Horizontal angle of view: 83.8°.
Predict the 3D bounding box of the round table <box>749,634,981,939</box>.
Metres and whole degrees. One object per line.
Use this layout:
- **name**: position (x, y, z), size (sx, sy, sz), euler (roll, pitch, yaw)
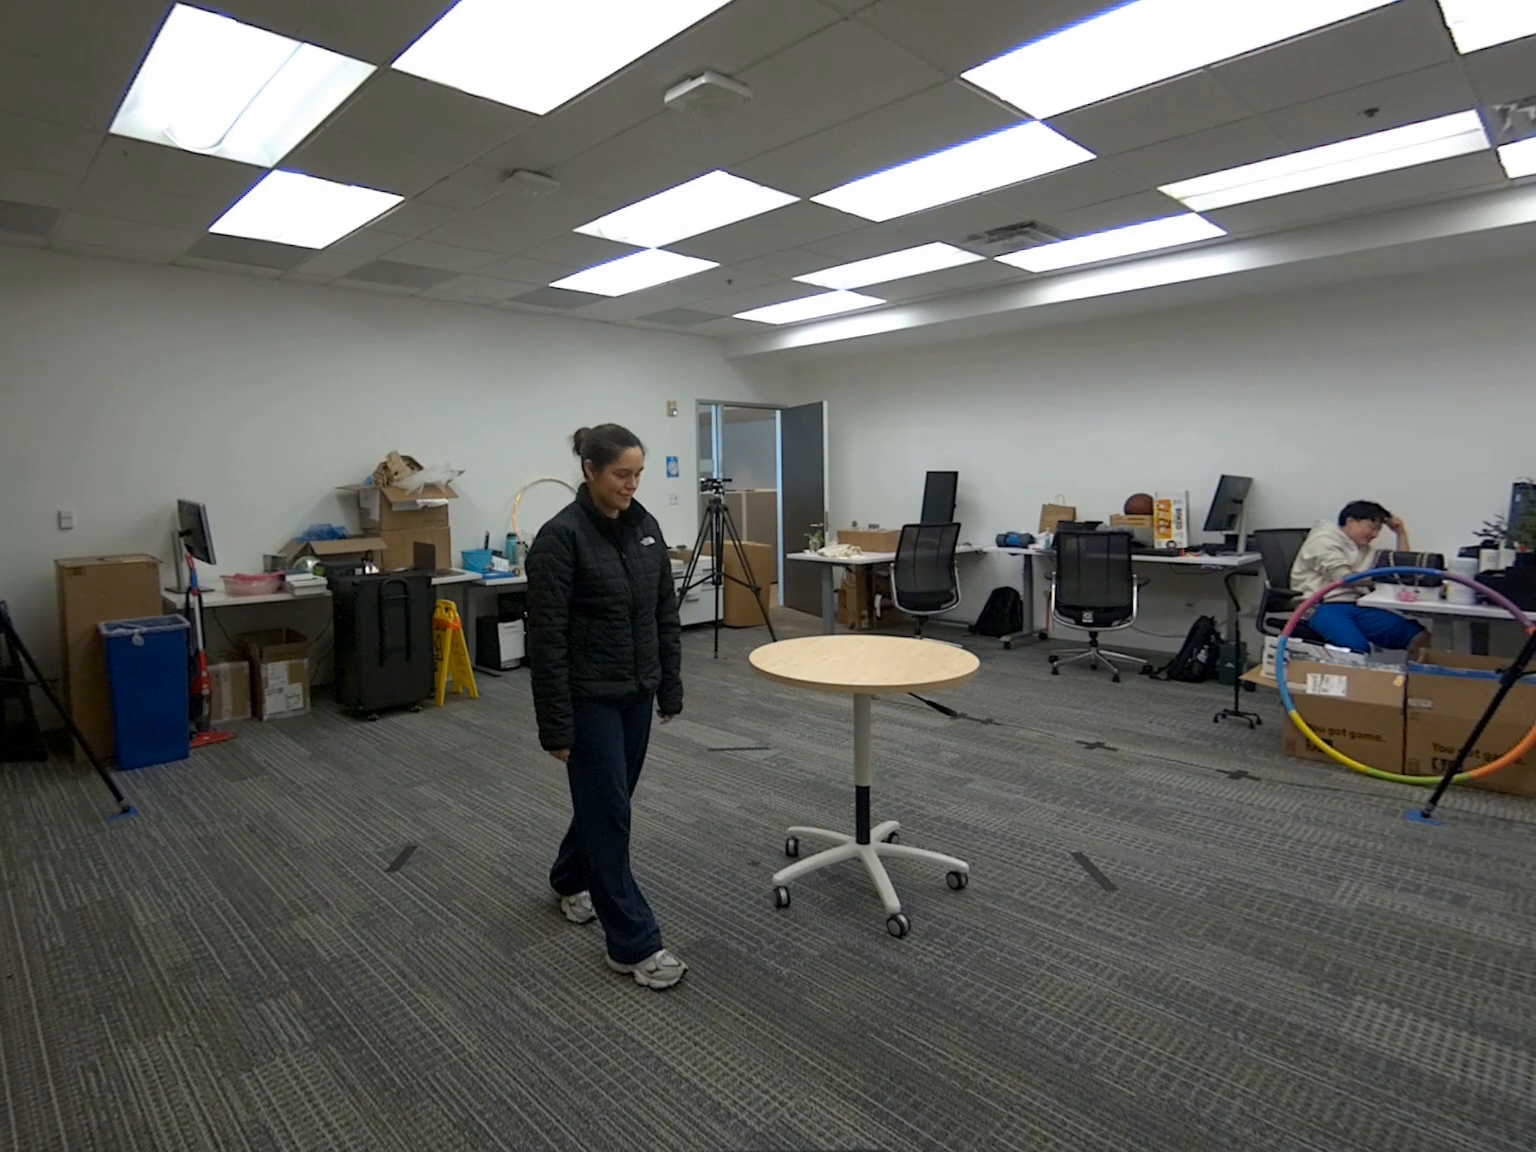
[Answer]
- **round table**: position (0.316, 0.660, 2.953), size (0.784, 0.783, 0.789), euler (-1, 5, -2)
